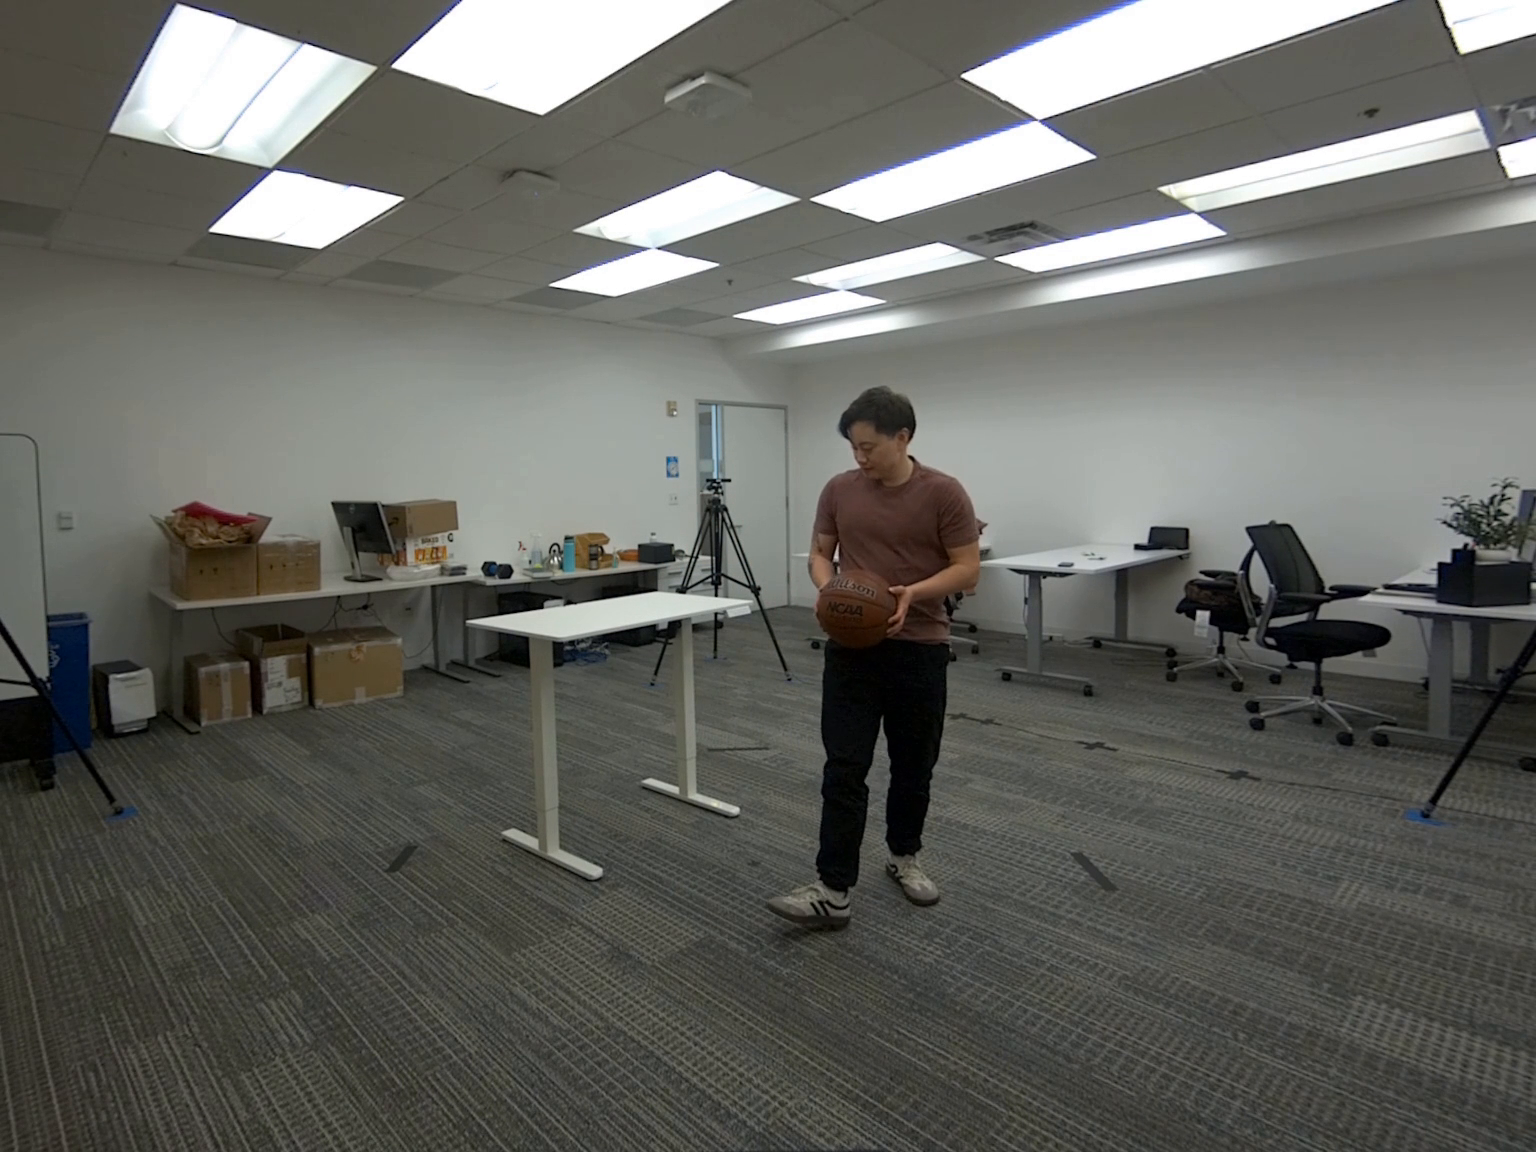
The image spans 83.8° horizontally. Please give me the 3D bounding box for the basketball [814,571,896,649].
[{"bbox_3d":[0.260,0.097,2.552,0.236,0.235,0.237,-1,5,-2],"label":"basketball"}]
